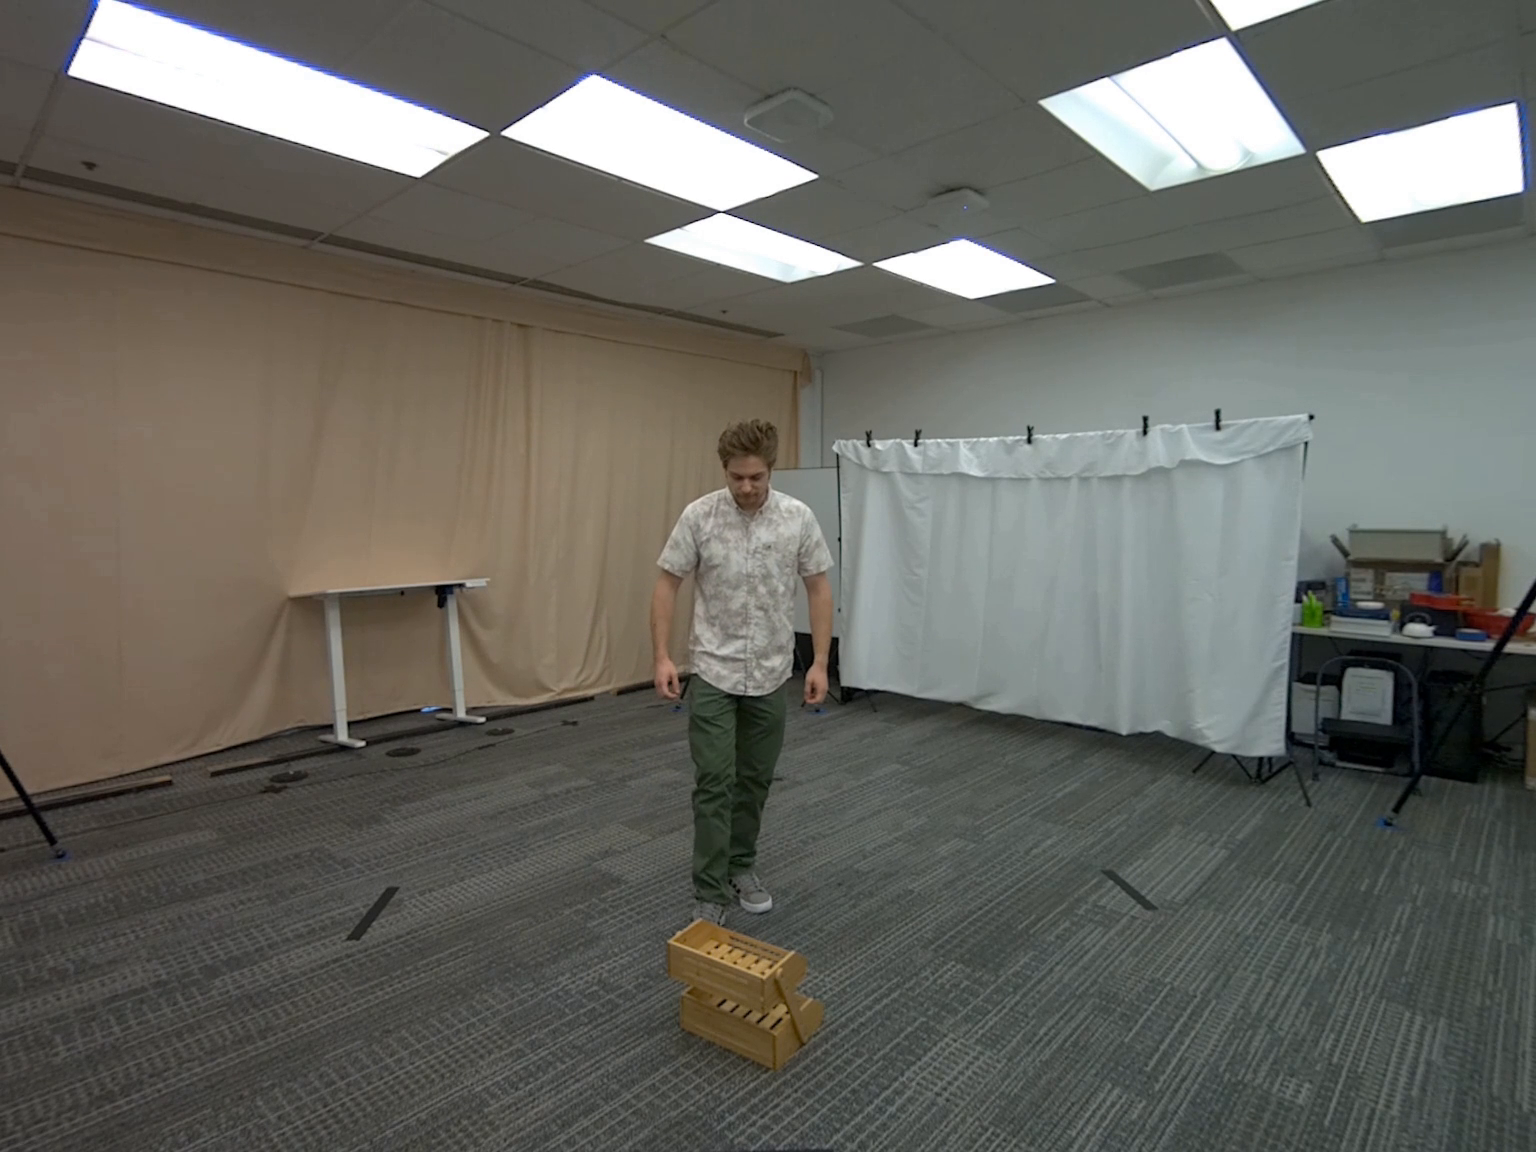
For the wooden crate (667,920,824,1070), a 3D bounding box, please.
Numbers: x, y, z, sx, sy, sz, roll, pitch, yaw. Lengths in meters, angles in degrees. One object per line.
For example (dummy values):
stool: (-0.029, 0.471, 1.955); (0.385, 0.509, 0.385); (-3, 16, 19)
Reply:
wooden crate: (-0.052, 1.068, 2.237); (0.334, 0.272, 0.294); (3, 5, 33)
